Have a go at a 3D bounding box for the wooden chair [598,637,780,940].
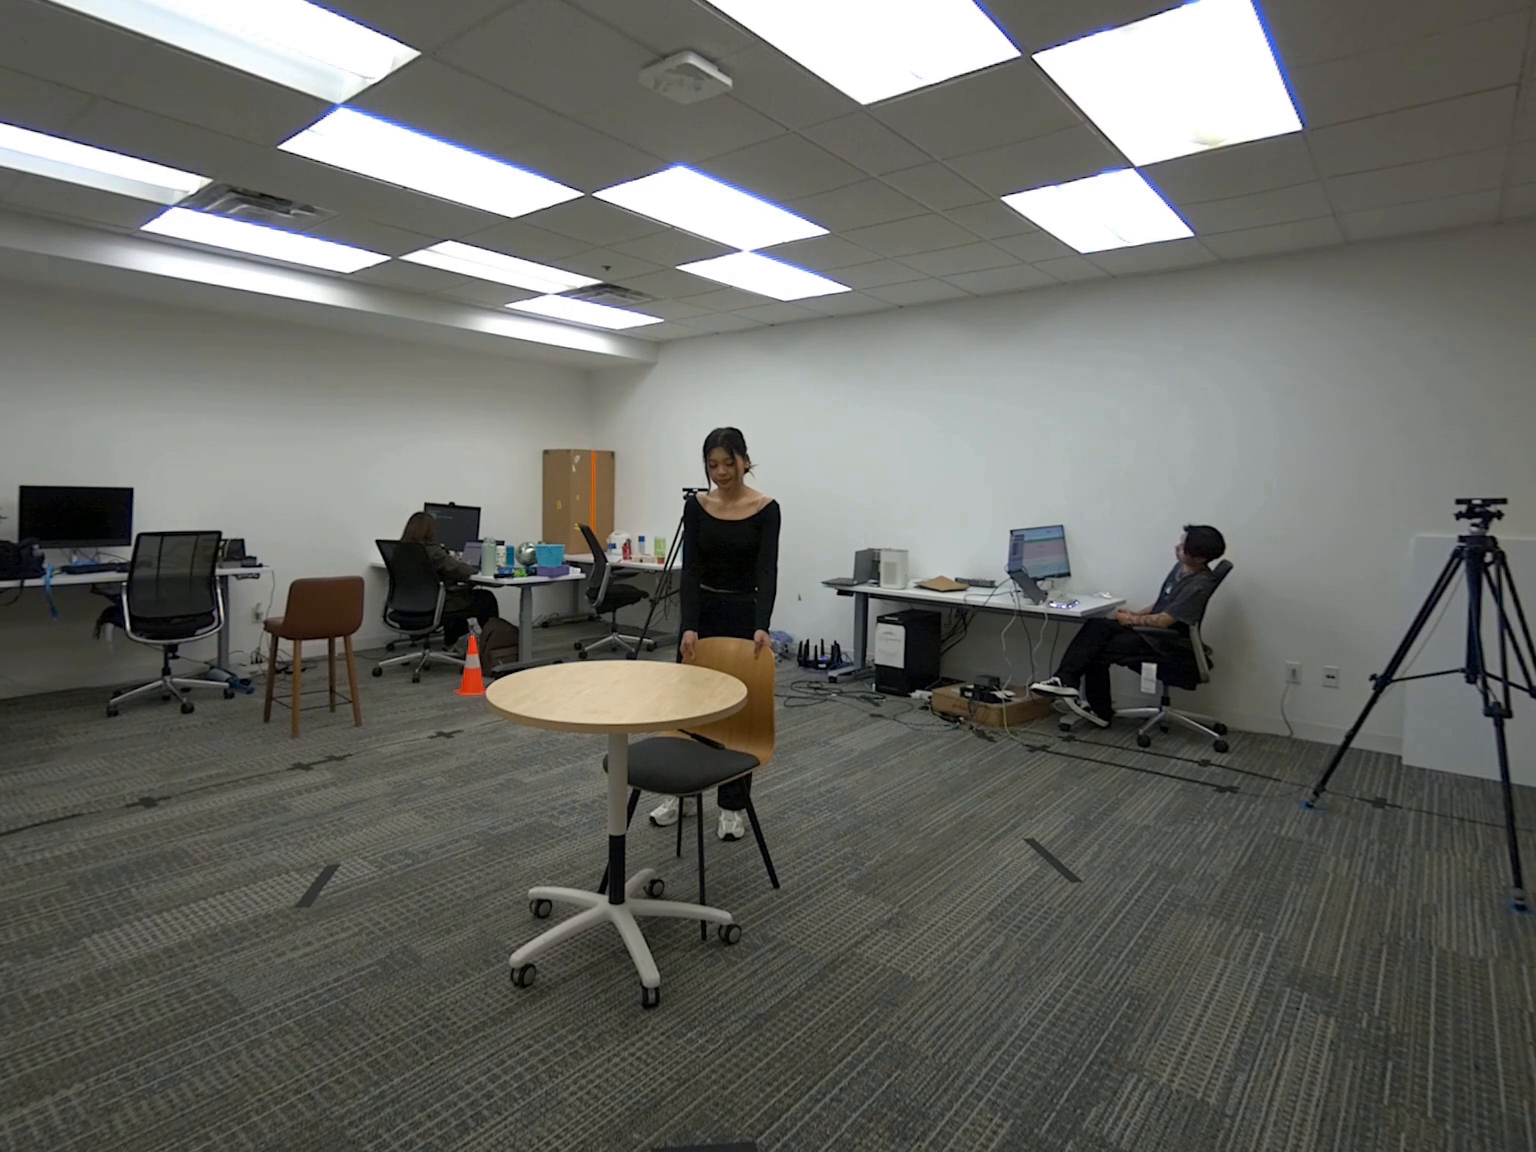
[{"bbox_3d":[-0.264,0.658,2.890,0.493,0.878,0.506,4,-1,34],"label":"wooden chair"}]
